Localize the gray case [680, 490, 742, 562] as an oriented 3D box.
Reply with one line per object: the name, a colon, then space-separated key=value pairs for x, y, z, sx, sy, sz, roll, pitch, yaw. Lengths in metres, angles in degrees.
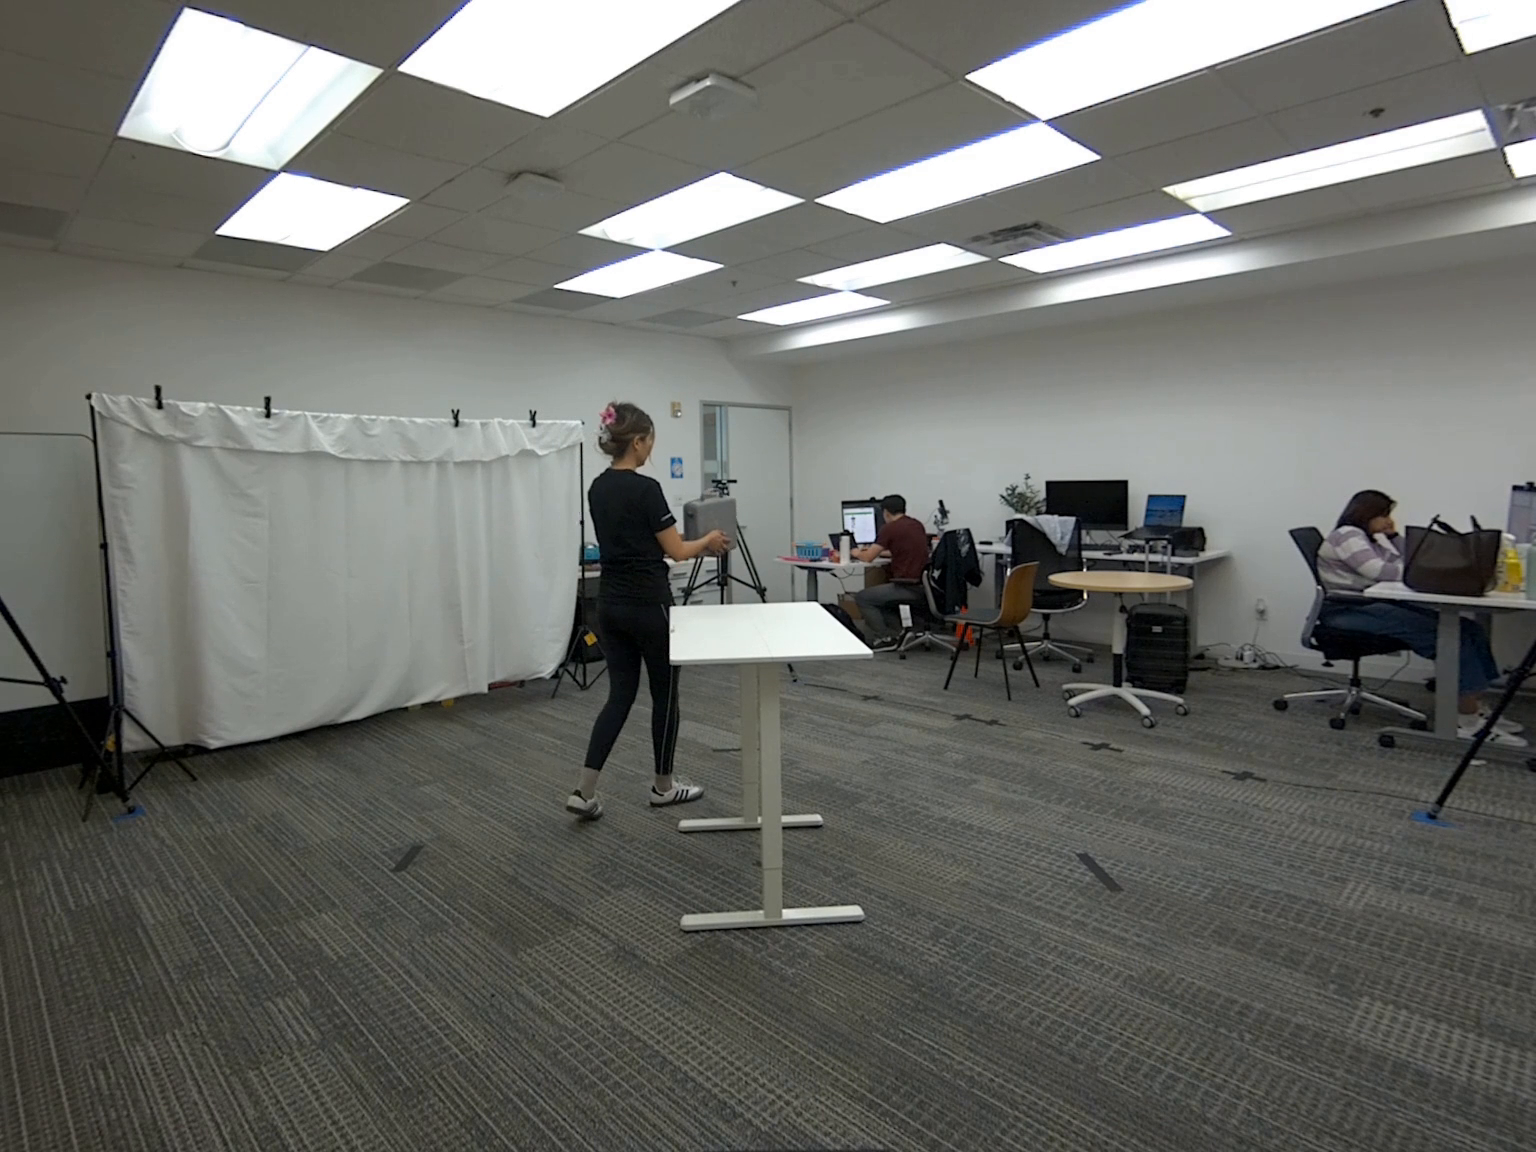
gray case: x=-0.254 y=-0.229 z=3.843 sx=0.252 sy=0.257 sz=0.108 roll=-17 pitch=21 yaw=-41
